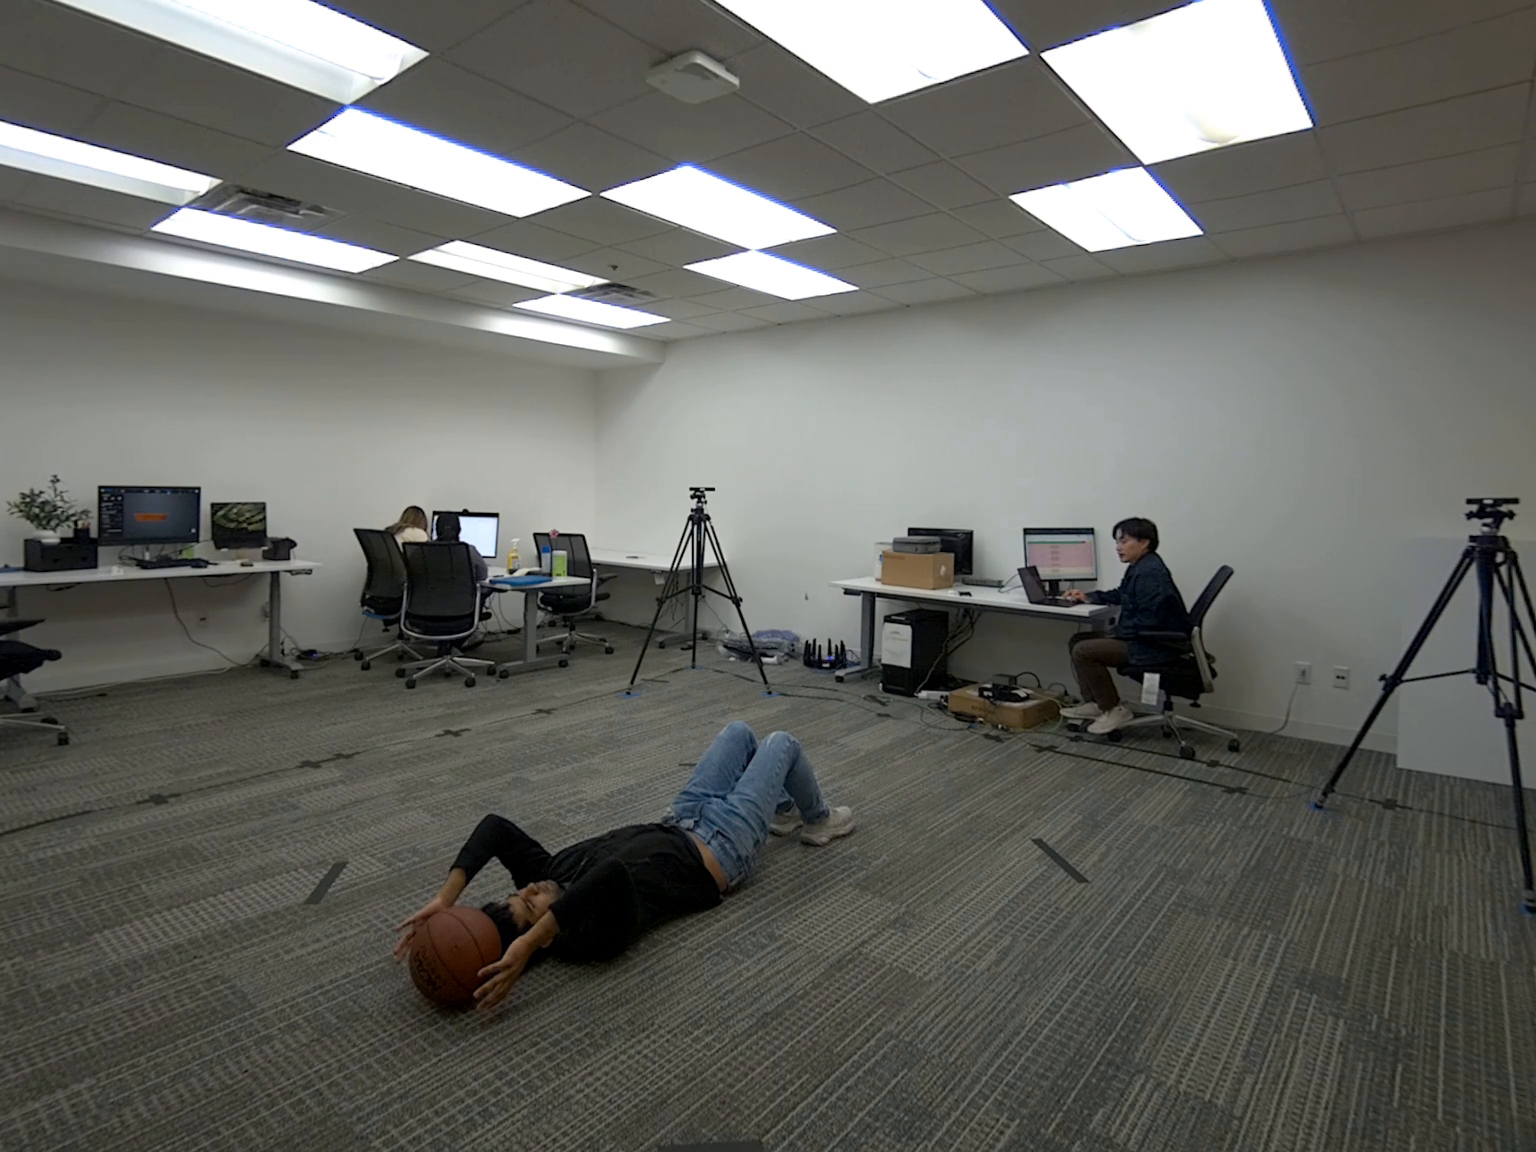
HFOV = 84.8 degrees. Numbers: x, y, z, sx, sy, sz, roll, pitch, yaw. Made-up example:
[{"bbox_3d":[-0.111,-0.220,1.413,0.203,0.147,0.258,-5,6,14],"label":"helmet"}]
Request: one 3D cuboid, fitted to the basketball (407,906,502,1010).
[{"bbox_3d":[-0.850,1.019,2.297,0.235,0.235,0.237,1,4,-2],"label":"basketball"}]
